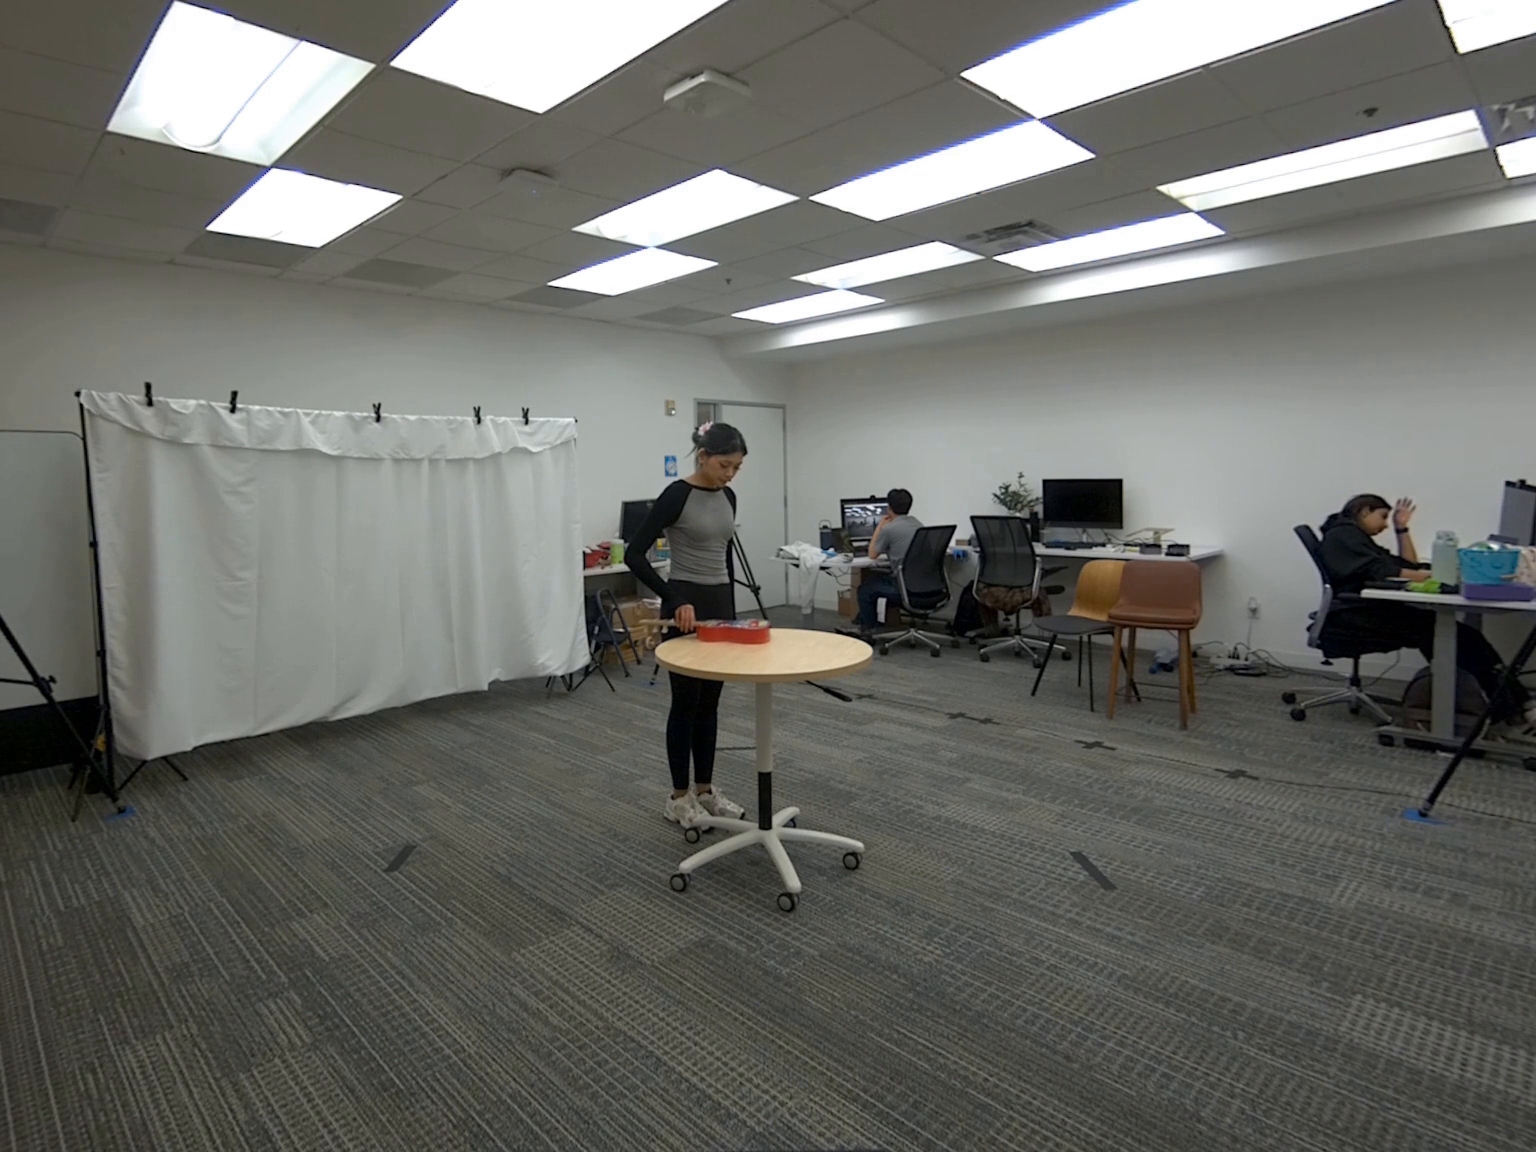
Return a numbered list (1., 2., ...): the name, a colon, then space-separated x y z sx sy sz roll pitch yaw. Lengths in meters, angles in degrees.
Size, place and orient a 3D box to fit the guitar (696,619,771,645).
1. guitar: -0.225 0.201 3.242 0.506 0.070 0.191 2 7 17
